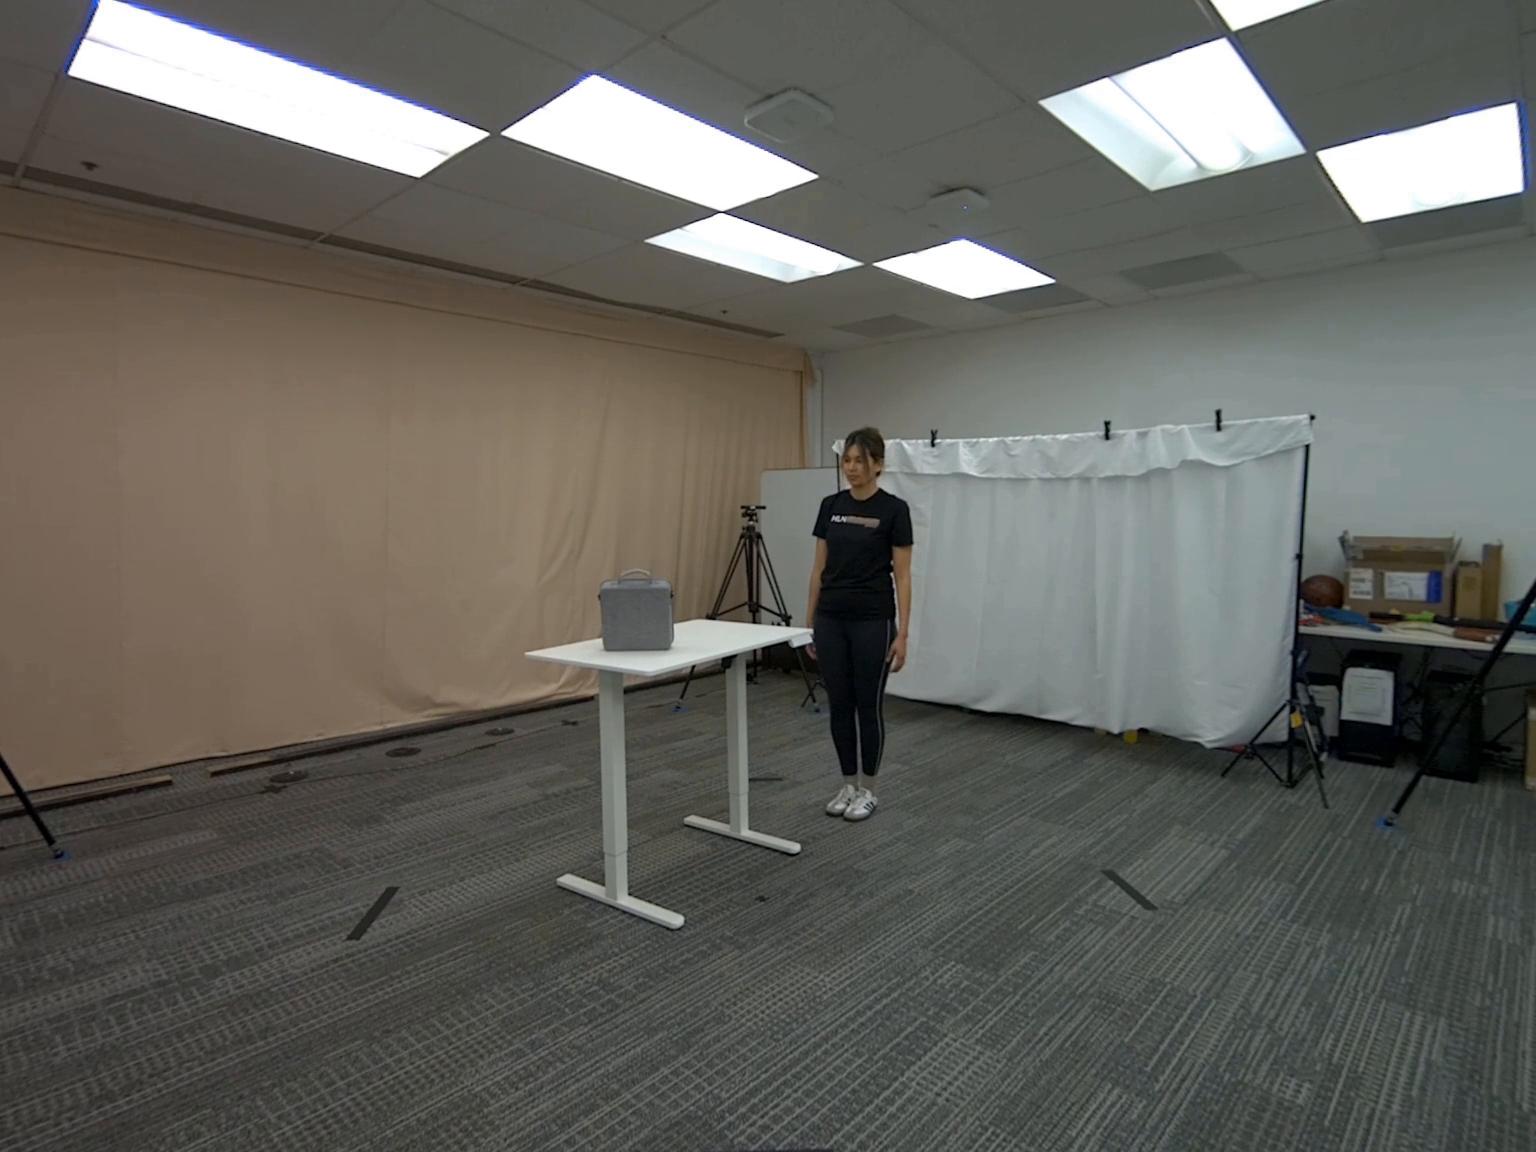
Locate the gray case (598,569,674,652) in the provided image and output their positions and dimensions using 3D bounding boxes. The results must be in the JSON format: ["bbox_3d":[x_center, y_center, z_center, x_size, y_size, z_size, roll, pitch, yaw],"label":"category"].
[{"bbox_3d":[-0.460,0.132,2.987,0.256,0.258,0.105,-2,13,-2],"label":"gray case"}]
